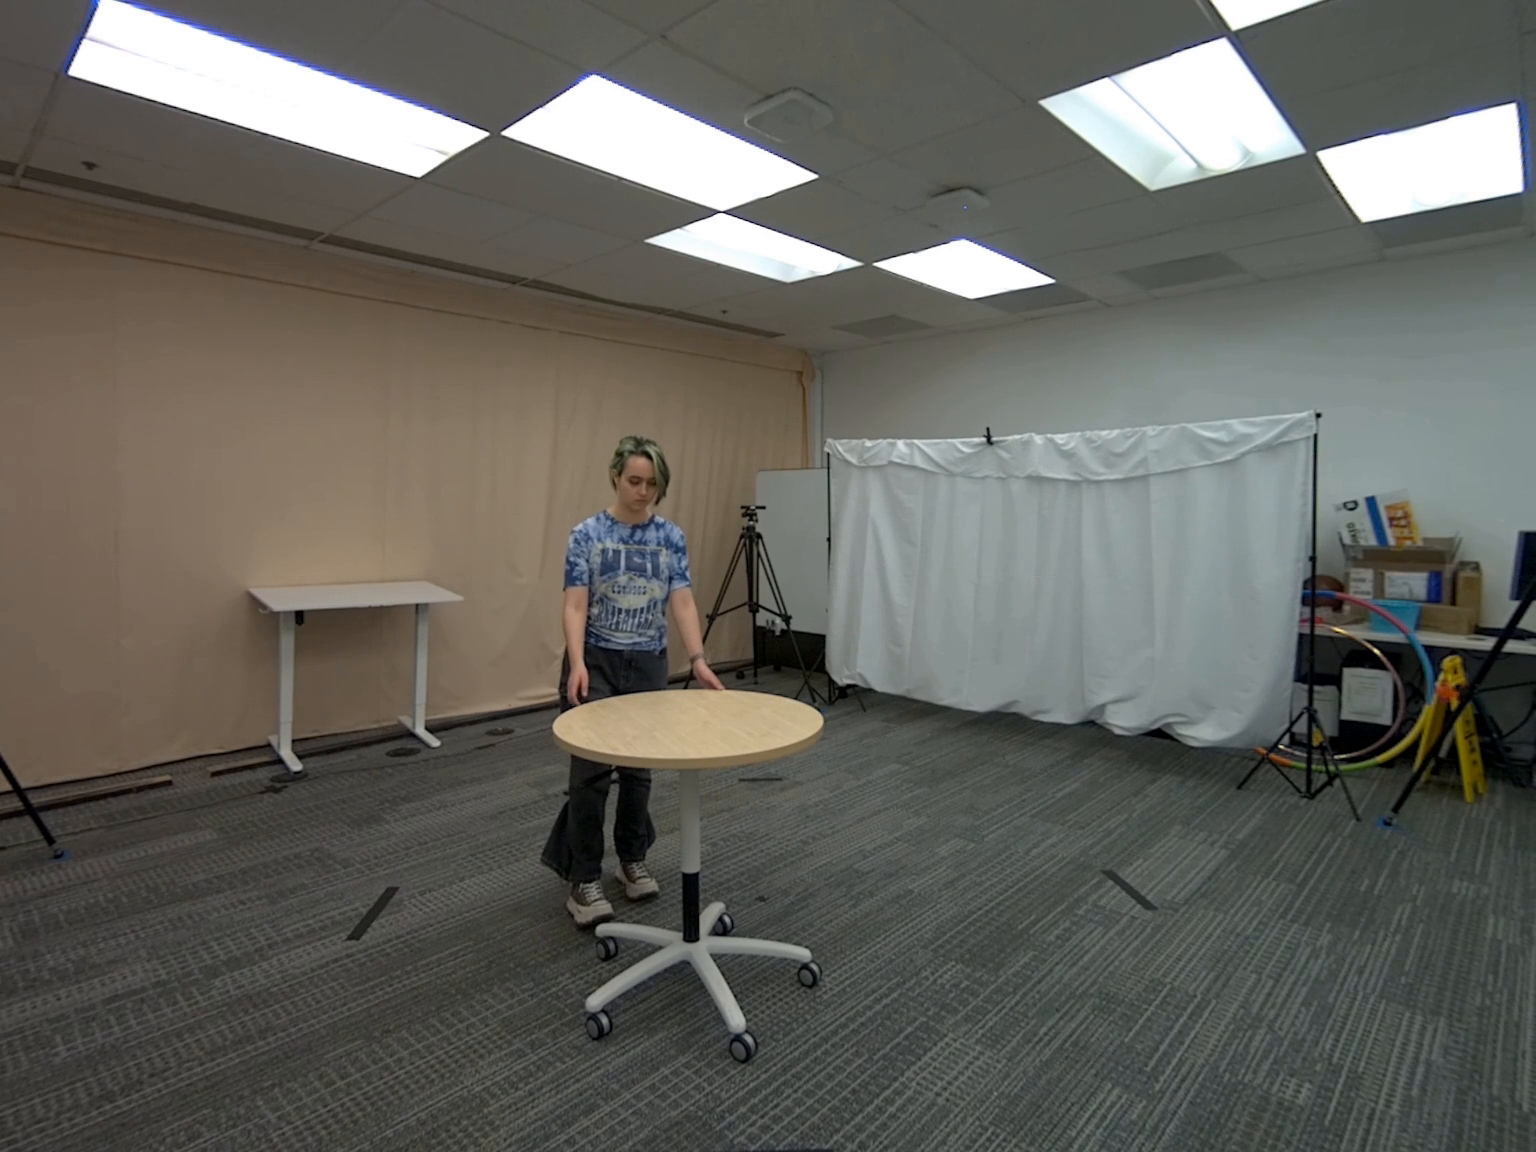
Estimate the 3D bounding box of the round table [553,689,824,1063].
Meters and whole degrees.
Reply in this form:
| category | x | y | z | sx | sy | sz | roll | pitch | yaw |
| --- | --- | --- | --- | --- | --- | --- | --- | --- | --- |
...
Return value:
| category | x | y | z | sx | sy | sz | roll | pitch | yaw |
| --- | --- | --- | --- | --- | --- | --- | --- | --- | --- |
| round table | -0.219 | 0.805 | 2.416 | 0.763 | 0.792 | 0.766 | -1 | 3 | -2 |
